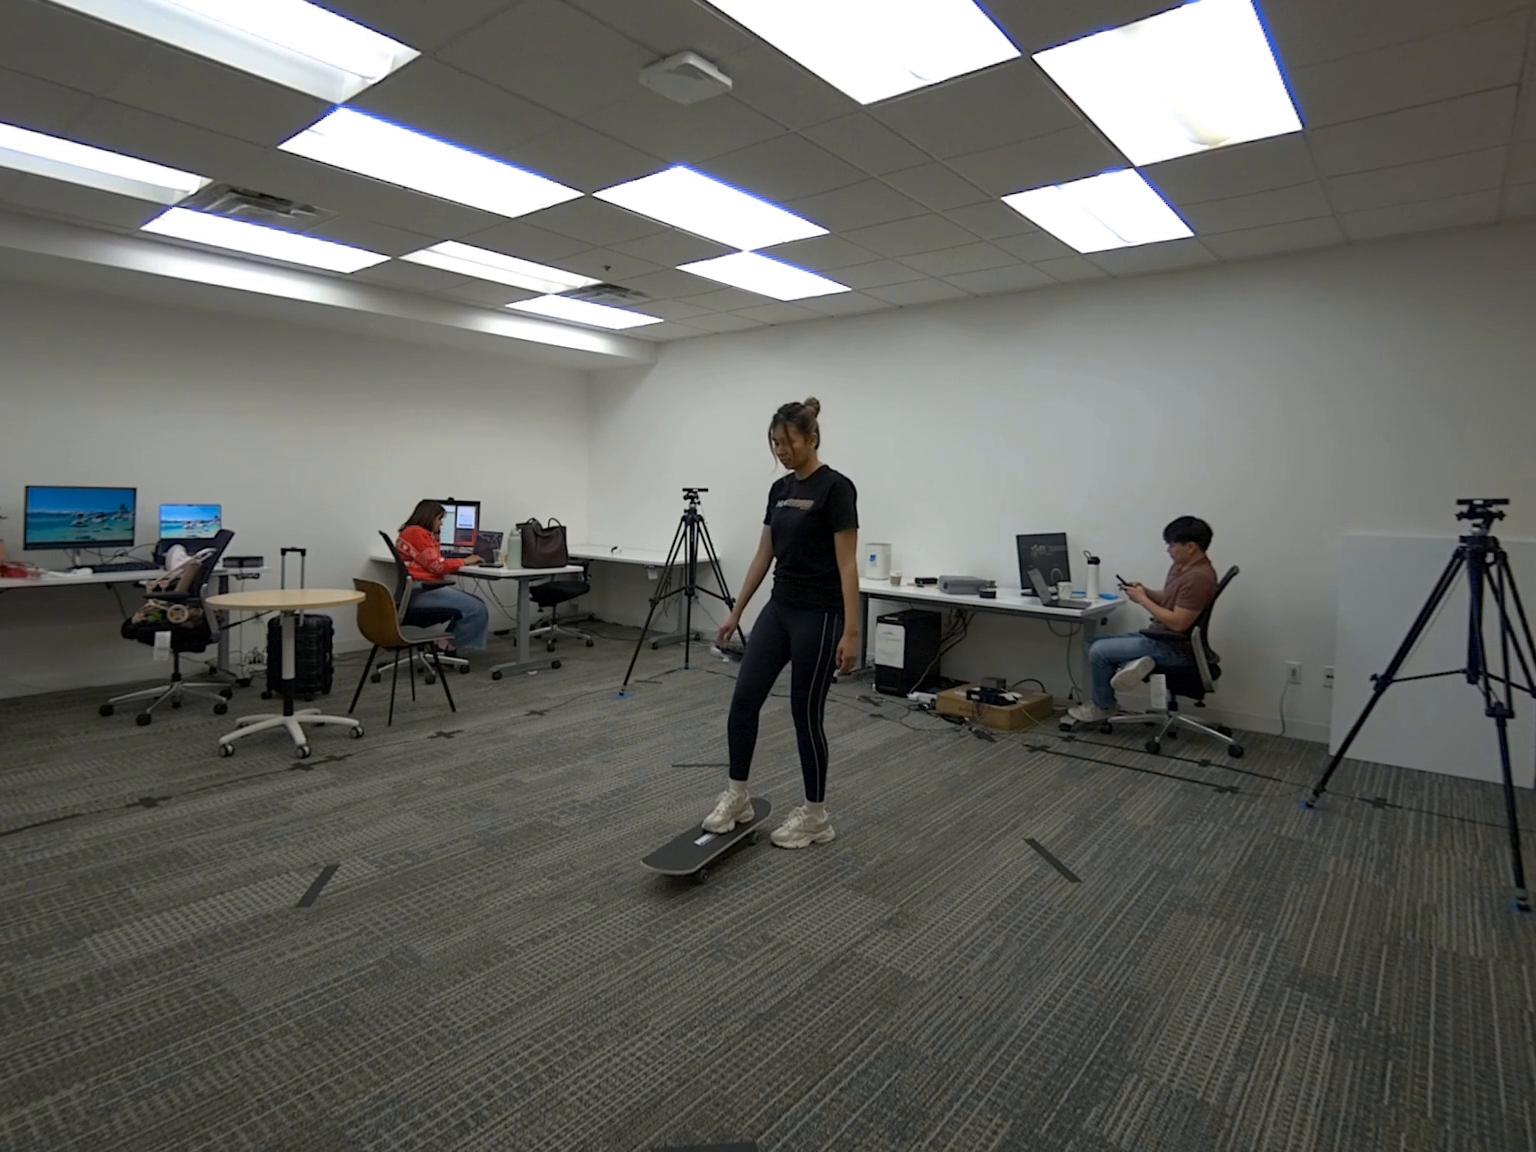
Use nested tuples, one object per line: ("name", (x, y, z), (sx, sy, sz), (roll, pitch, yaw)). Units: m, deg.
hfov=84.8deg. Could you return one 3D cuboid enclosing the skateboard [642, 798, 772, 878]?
("skateboard", (-0.220, 1.005, 3.205), (0.199, 0.110, 0.766), (4, 6, 28))
